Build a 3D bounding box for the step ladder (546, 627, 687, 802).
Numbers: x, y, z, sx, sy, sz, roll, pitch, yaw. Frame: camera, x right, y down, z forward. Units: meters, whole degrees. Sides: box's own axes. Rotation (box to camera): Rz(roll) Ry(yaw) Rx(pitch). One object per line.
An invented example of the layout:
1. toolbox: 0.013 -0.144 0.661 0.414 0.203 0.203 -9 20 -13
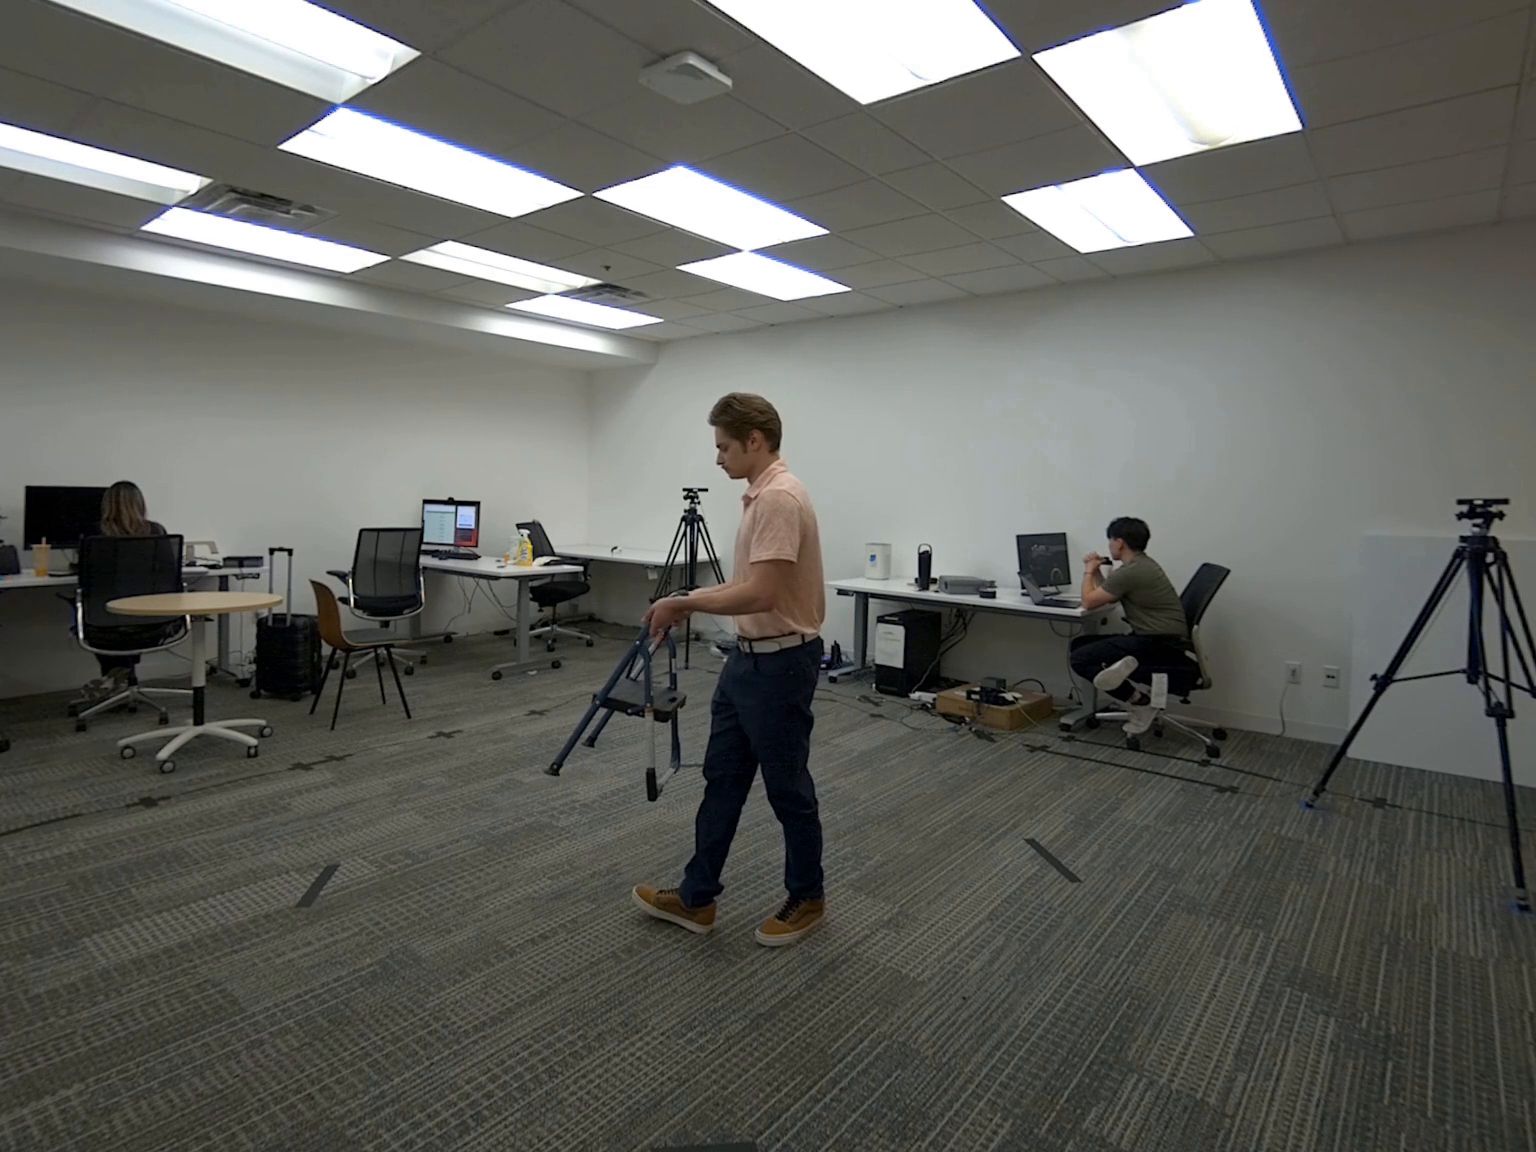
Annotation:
1. step ladder: -0.412 0.335 2.709 0.352 0.606 0.427 13 0 4
